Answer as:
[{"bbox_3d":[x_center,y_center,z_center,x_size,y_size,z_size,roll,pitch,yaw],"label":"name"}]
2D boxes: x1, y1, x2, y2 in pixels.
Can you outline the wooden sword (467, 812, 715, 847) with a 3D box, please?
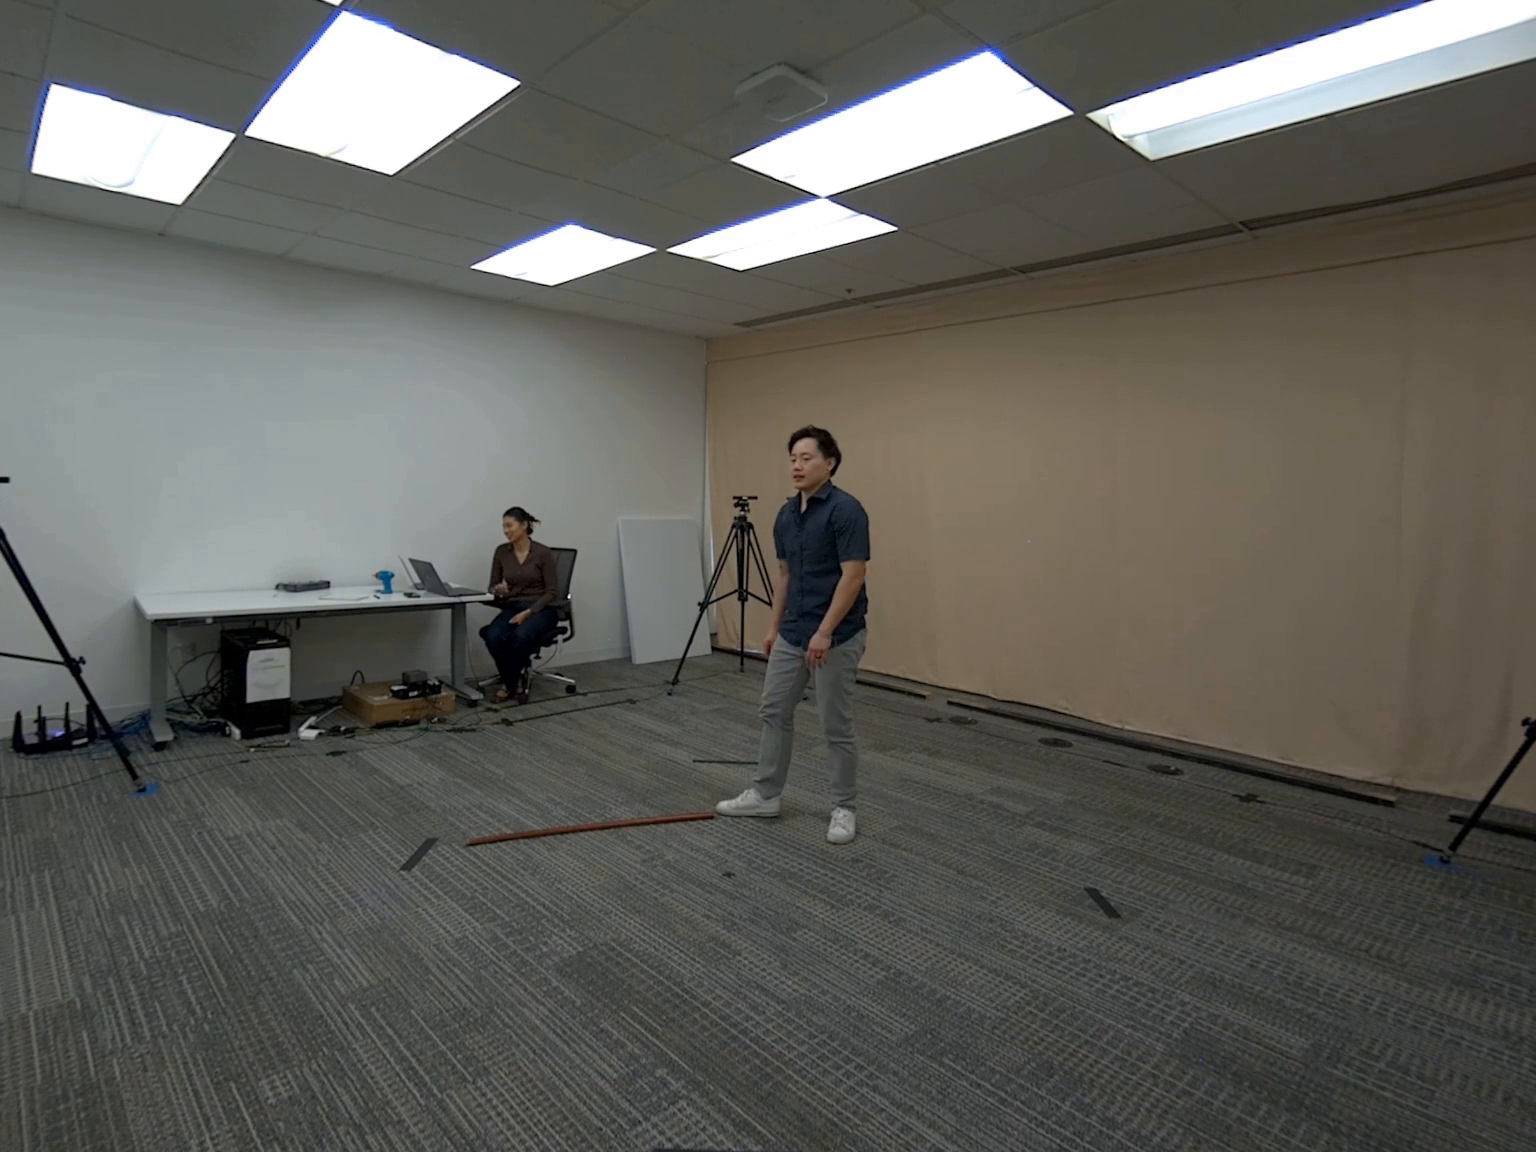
[{"bbox_3d":[-0.709,1.040,3.483,1.009,0.024,0.052,0,8,-20],"label":"wooden sword"}]
